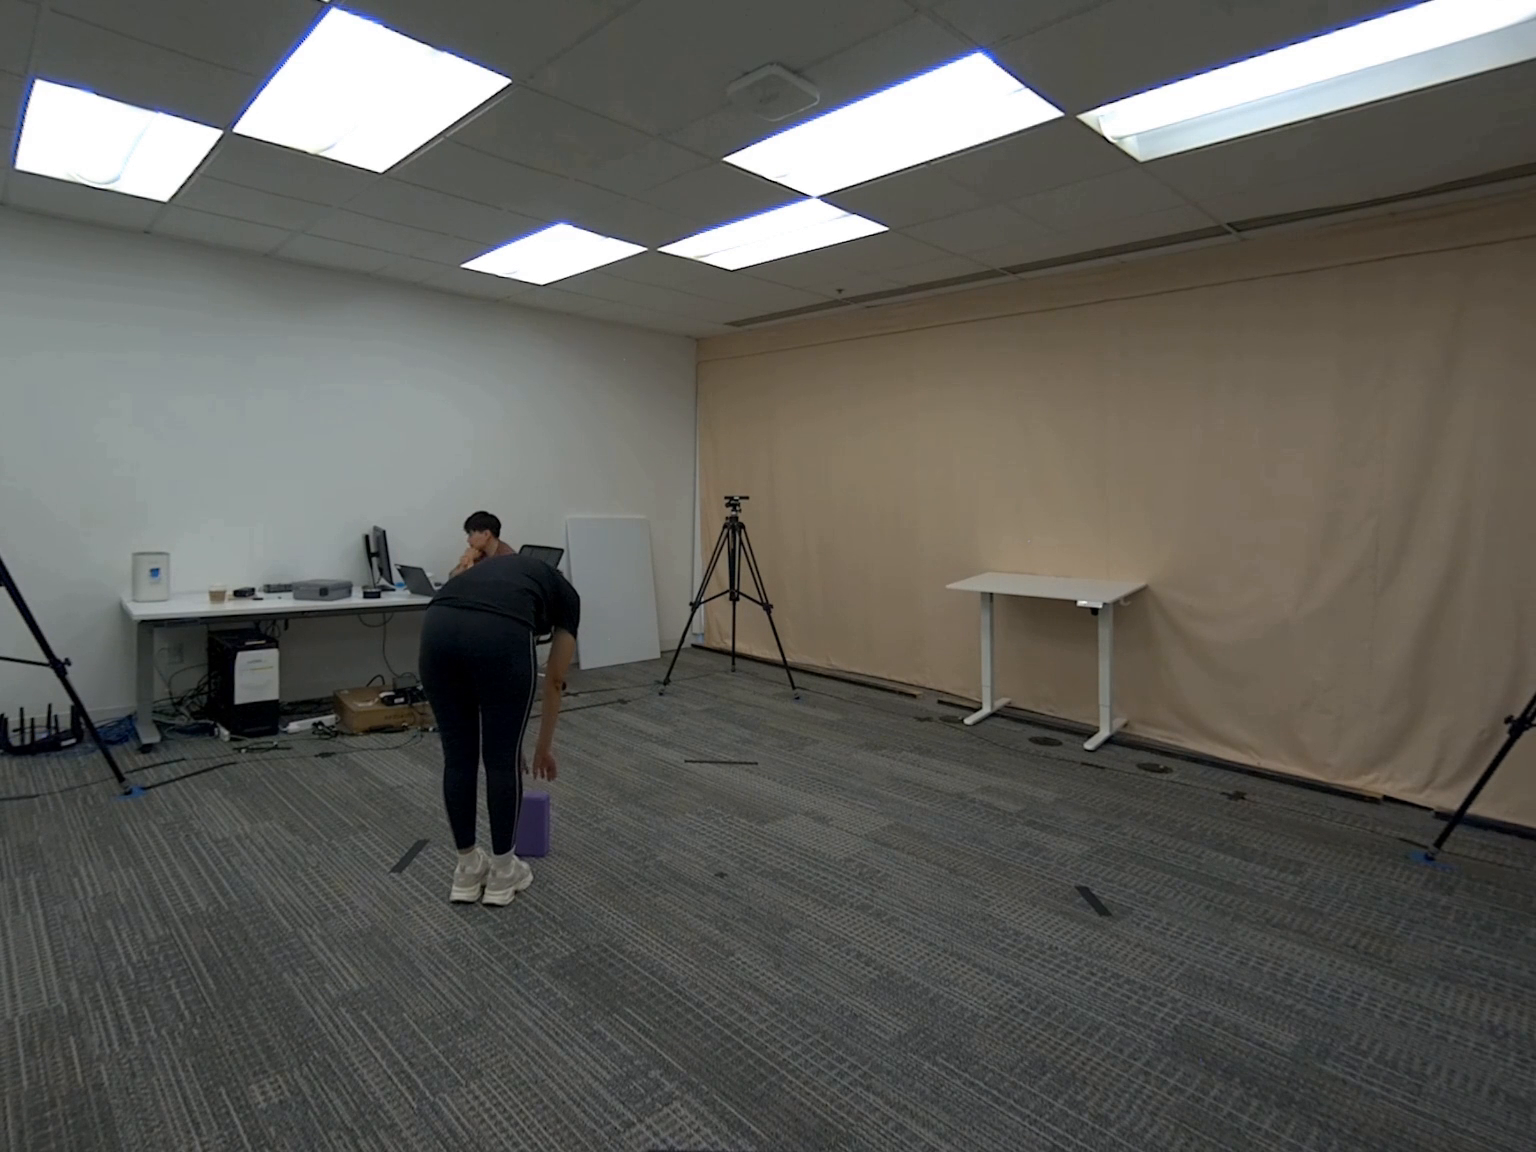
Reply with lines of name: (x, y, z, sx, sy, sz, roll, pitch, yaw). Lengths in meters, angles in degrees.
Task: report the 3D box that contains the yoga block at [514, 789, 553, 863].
yoga block: (-0.929, 0.959, 3.252, 0.149, 0.229, 0.076, 3, 2, 3)
